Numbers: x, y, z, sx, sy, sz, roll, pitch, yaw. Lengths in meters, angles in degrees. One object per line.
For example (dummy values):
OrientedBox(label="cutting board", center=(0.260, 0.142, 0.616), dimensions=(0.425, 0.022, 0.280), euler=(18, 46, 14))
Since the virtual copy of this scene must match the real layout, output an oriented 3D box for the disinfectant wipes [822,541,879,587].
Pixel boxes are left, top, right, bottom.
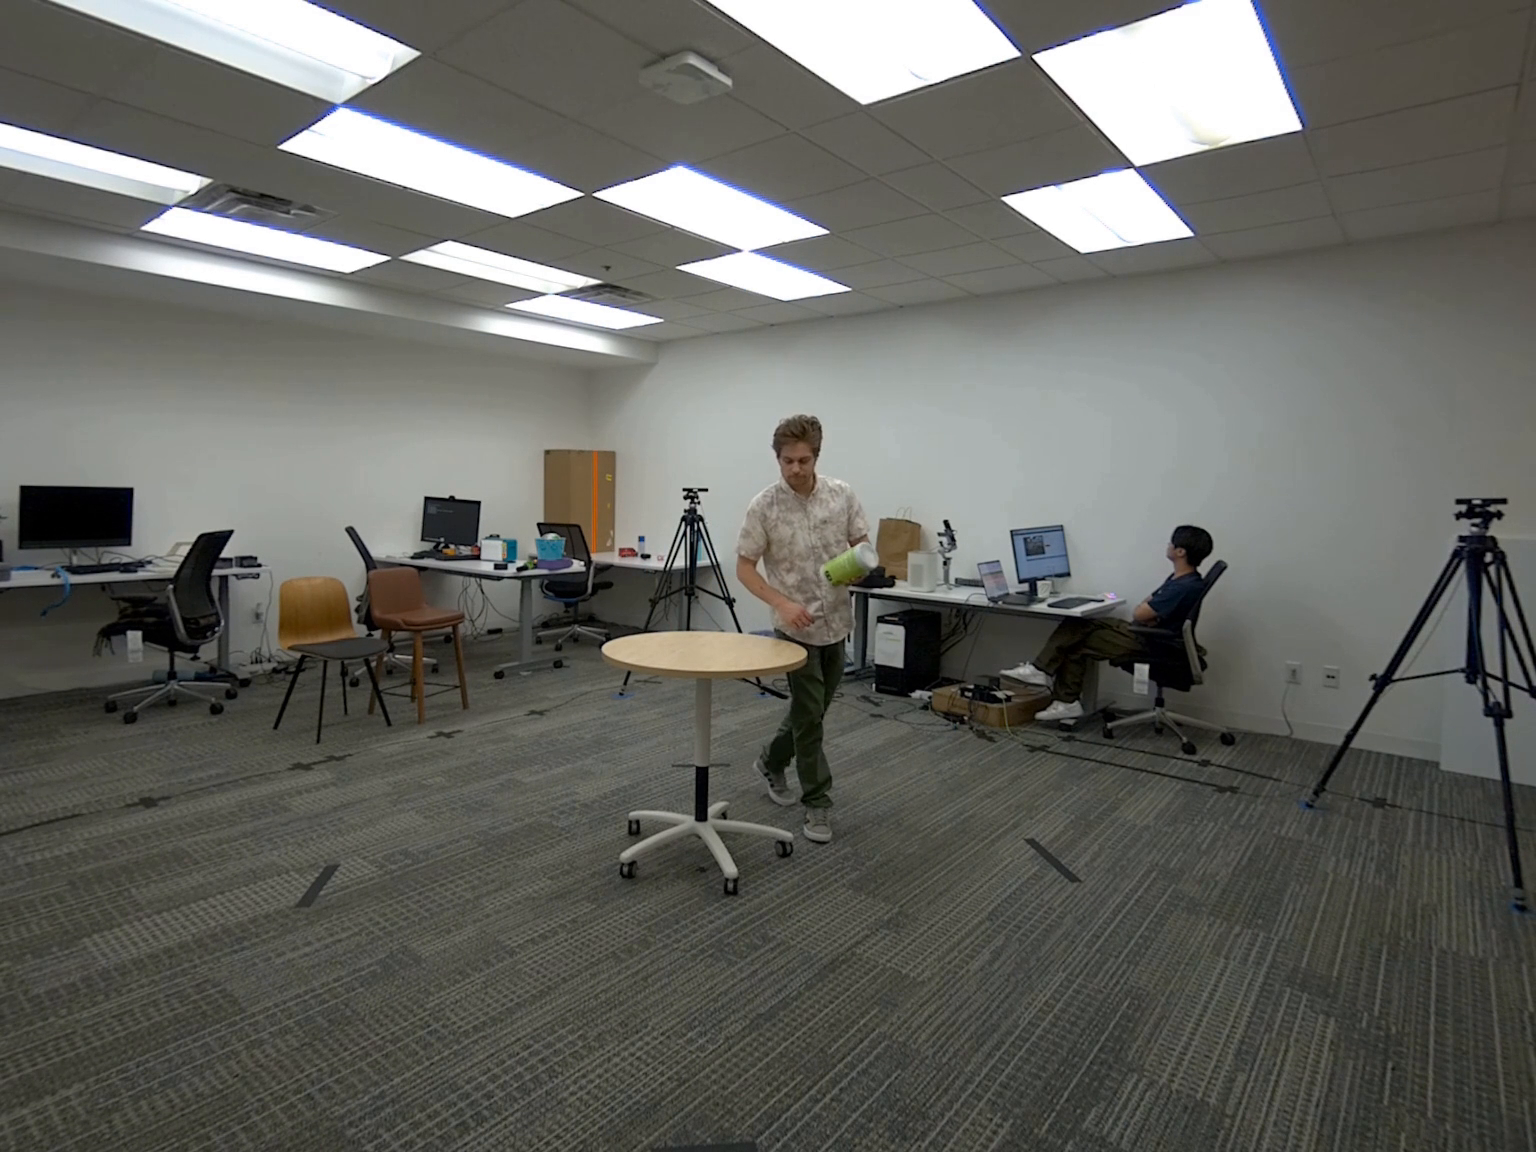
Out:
OrientedBox(label="disinfectant wipes", center=(0.296, -0.043, 3.246), dimensions=(0.114, 0.120, 0.220), euler=(-3, -22, -44))
